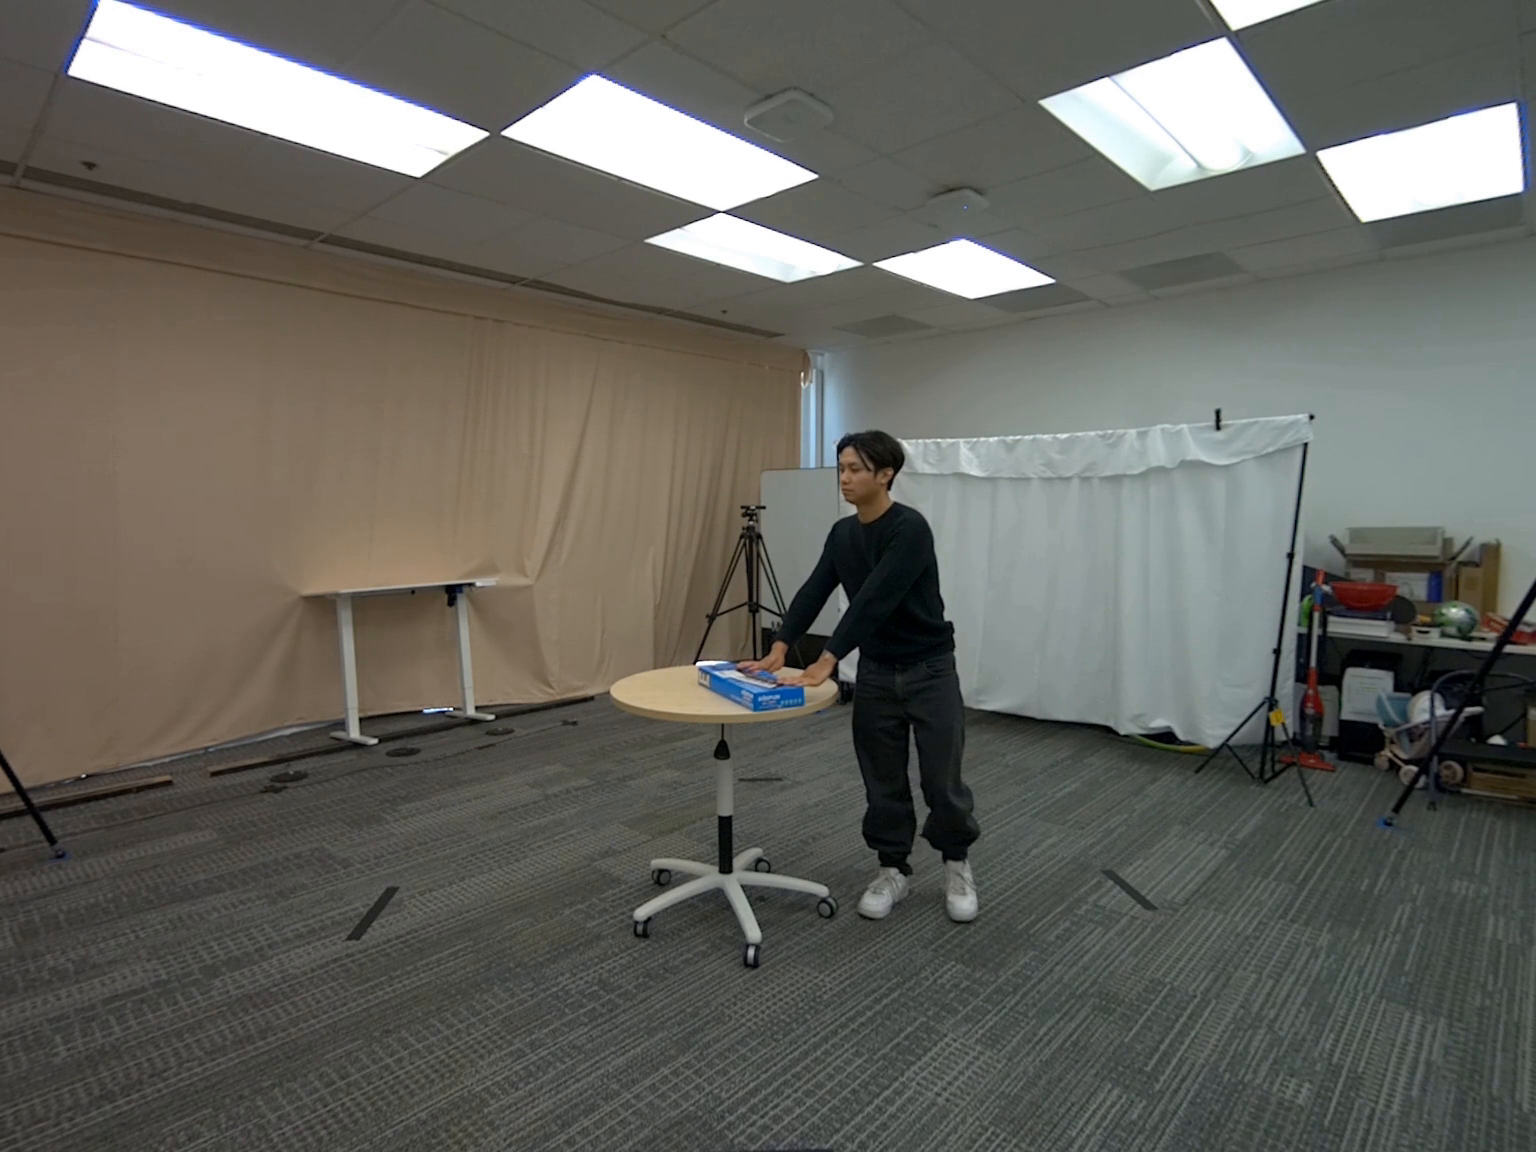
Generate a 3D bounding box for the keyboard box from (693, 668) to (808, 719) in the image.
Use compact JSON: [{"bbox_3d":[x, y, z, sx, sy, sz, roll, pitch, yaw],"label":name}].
[{"bbox_3d":[-0.067,0.366,2.700,0.171,0.059,0.449,-3,5,-28],"label":"keyboard box"}]
